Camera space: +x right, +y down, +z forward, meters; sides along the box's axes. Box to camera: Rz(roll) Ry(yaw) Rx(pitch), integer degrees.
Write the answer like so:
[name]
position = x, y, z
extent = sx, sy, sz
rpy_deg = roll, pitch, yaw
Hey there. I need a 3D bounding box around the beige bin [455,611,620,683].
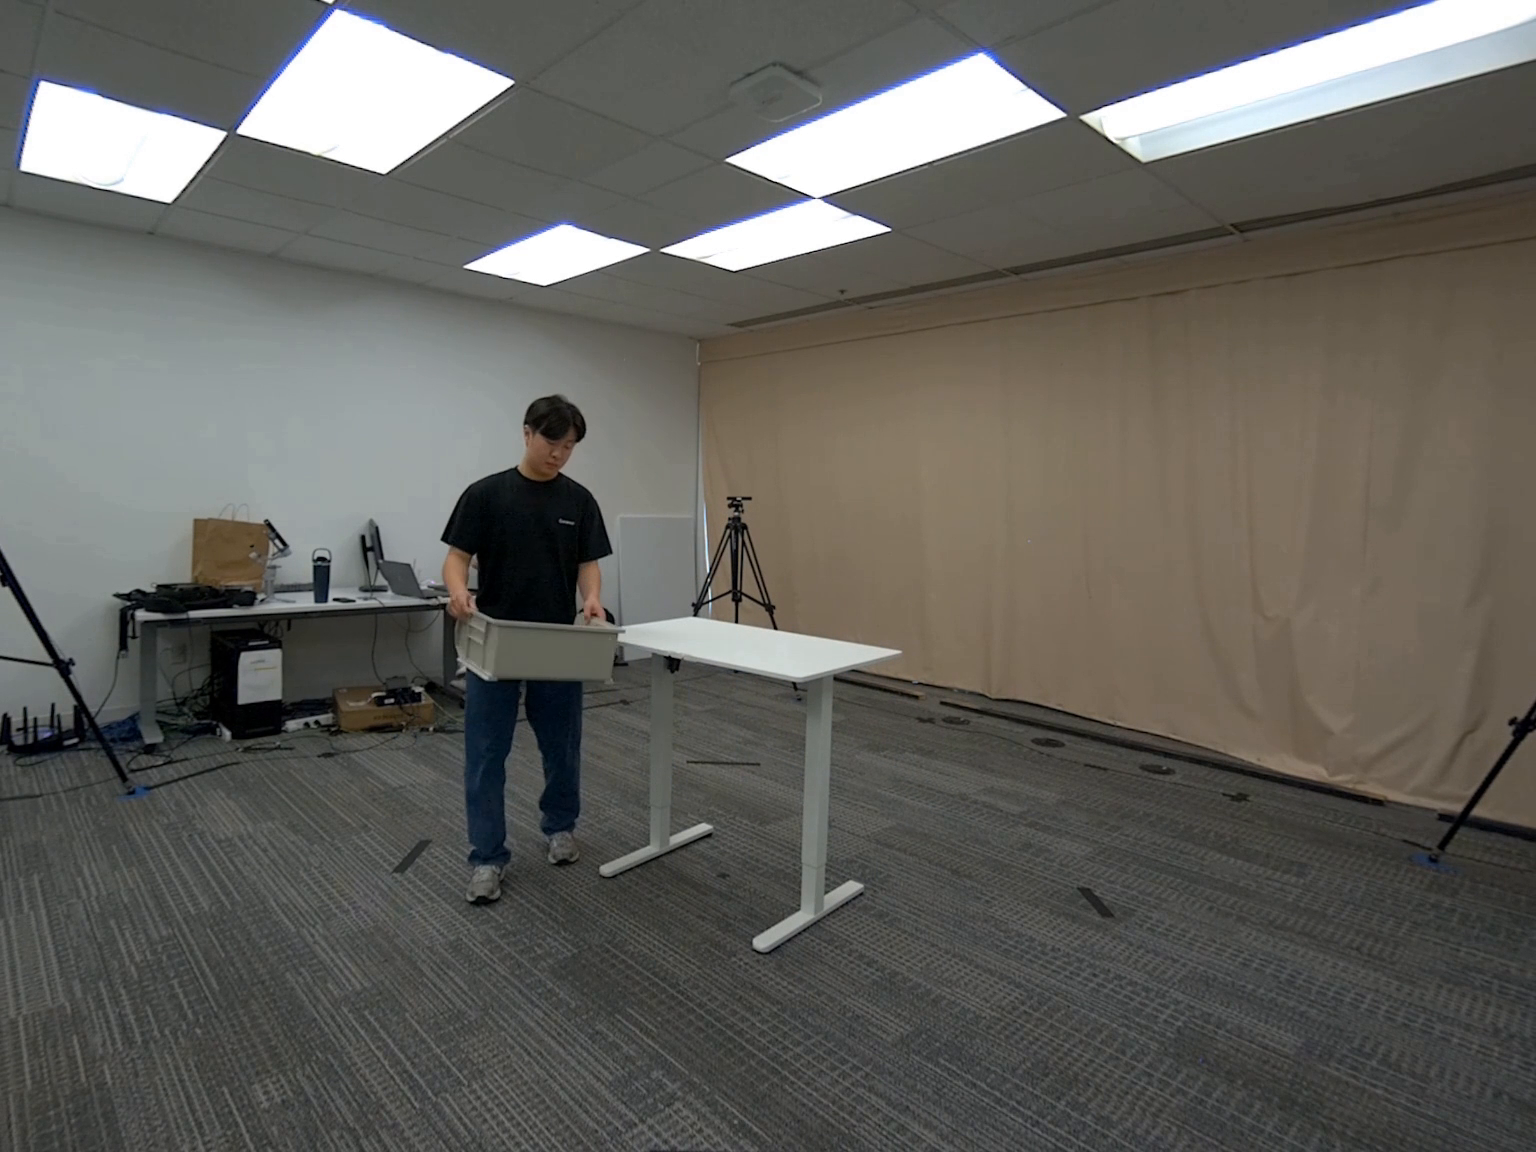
[beige bin]
position = -0.747, 0.215, 2.697
extent = 0.412, 0.189, 0.387
rpy_deg = 7, 4, -34
